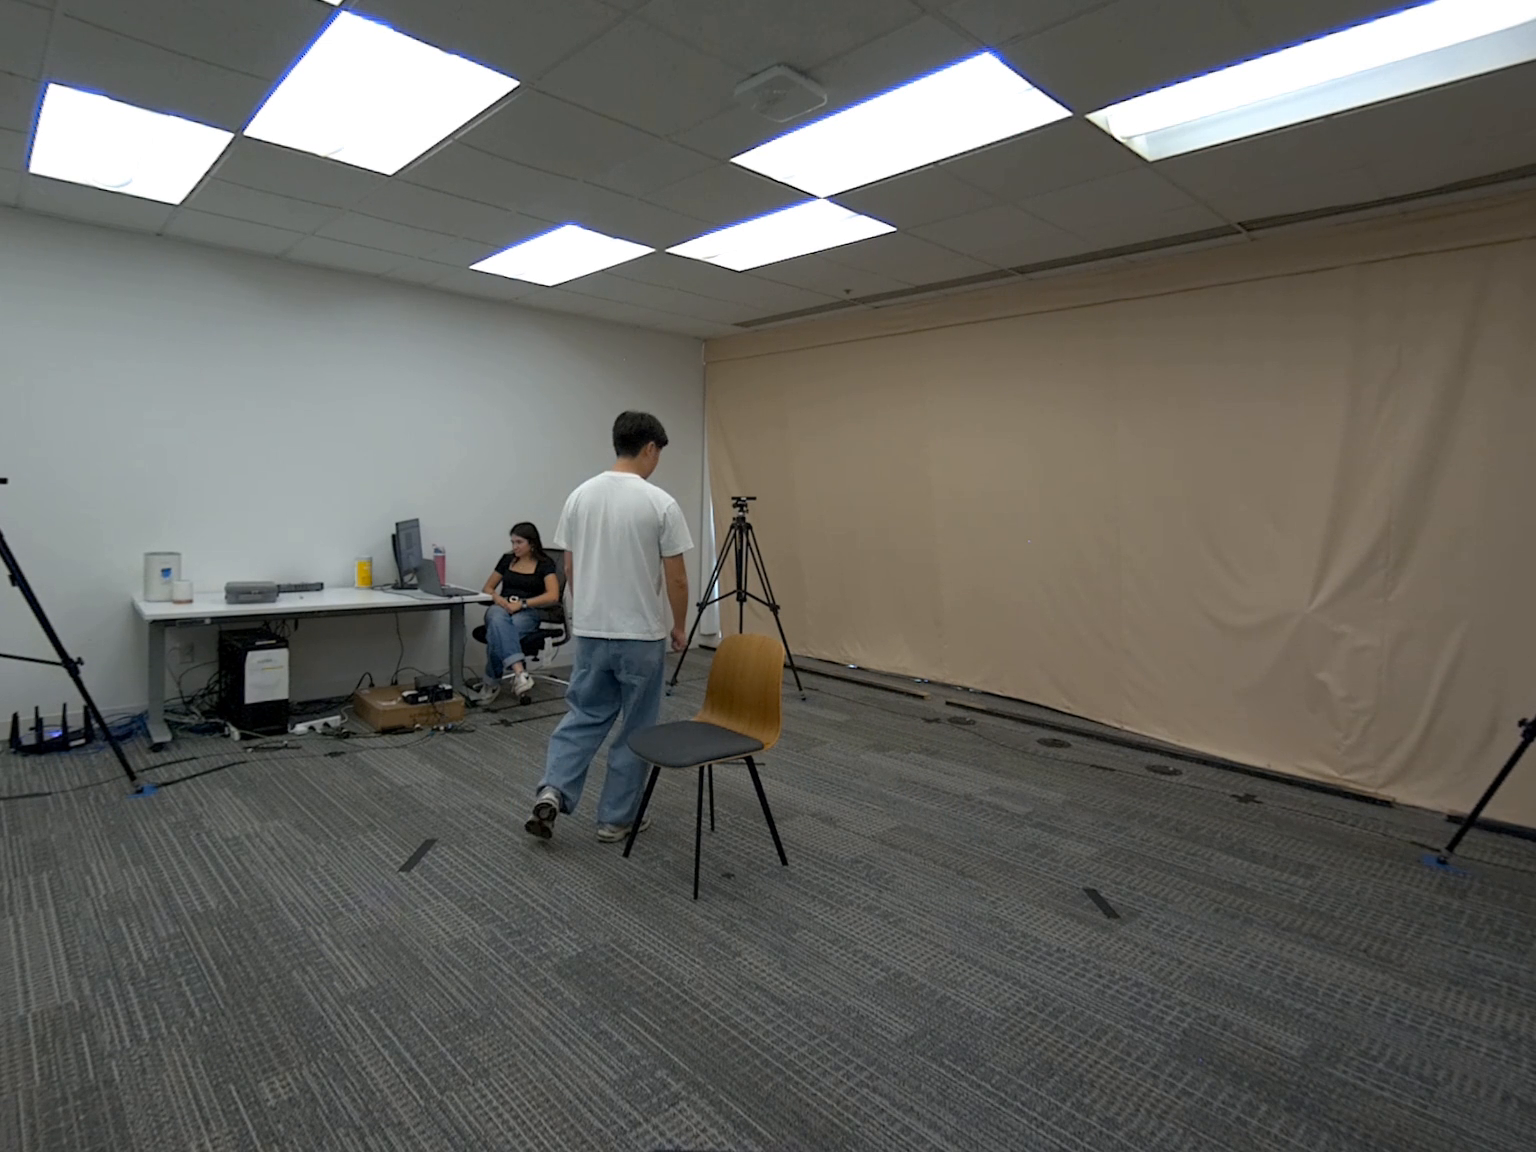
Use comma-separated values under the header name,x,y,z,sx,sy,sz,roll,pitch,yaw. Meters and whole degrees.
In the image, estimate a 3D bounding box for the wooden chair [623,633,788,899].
name,x,y,z,sx,sy,sz,roll,pitch,yaw
wooden chair,-0.238,0.670,3.182,0.510,0.877,0.490,4,1,-43
